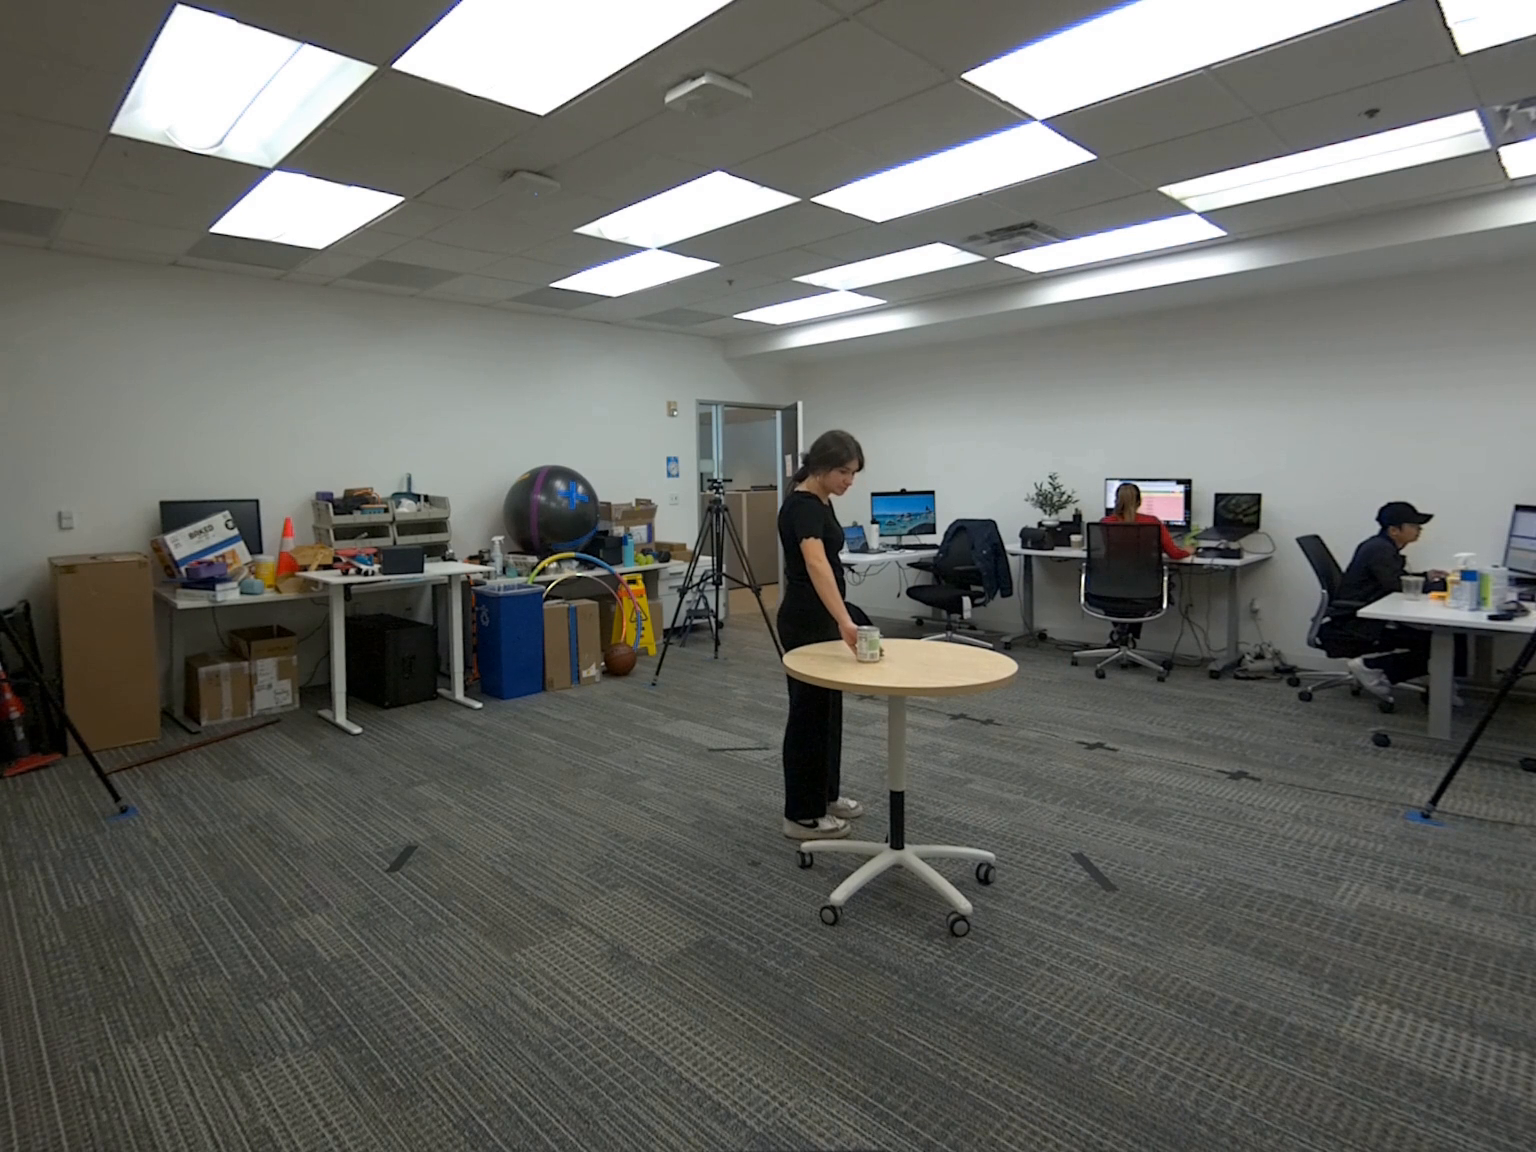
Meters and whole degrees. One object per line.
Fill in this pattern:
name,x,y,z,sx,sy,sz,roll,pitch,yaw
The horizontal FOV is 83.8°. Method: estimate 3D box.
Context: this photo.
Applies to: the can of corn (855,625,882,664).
can of corn,0.330,0.231,2.838,0.074,0.111,0.074,2,3,-2
